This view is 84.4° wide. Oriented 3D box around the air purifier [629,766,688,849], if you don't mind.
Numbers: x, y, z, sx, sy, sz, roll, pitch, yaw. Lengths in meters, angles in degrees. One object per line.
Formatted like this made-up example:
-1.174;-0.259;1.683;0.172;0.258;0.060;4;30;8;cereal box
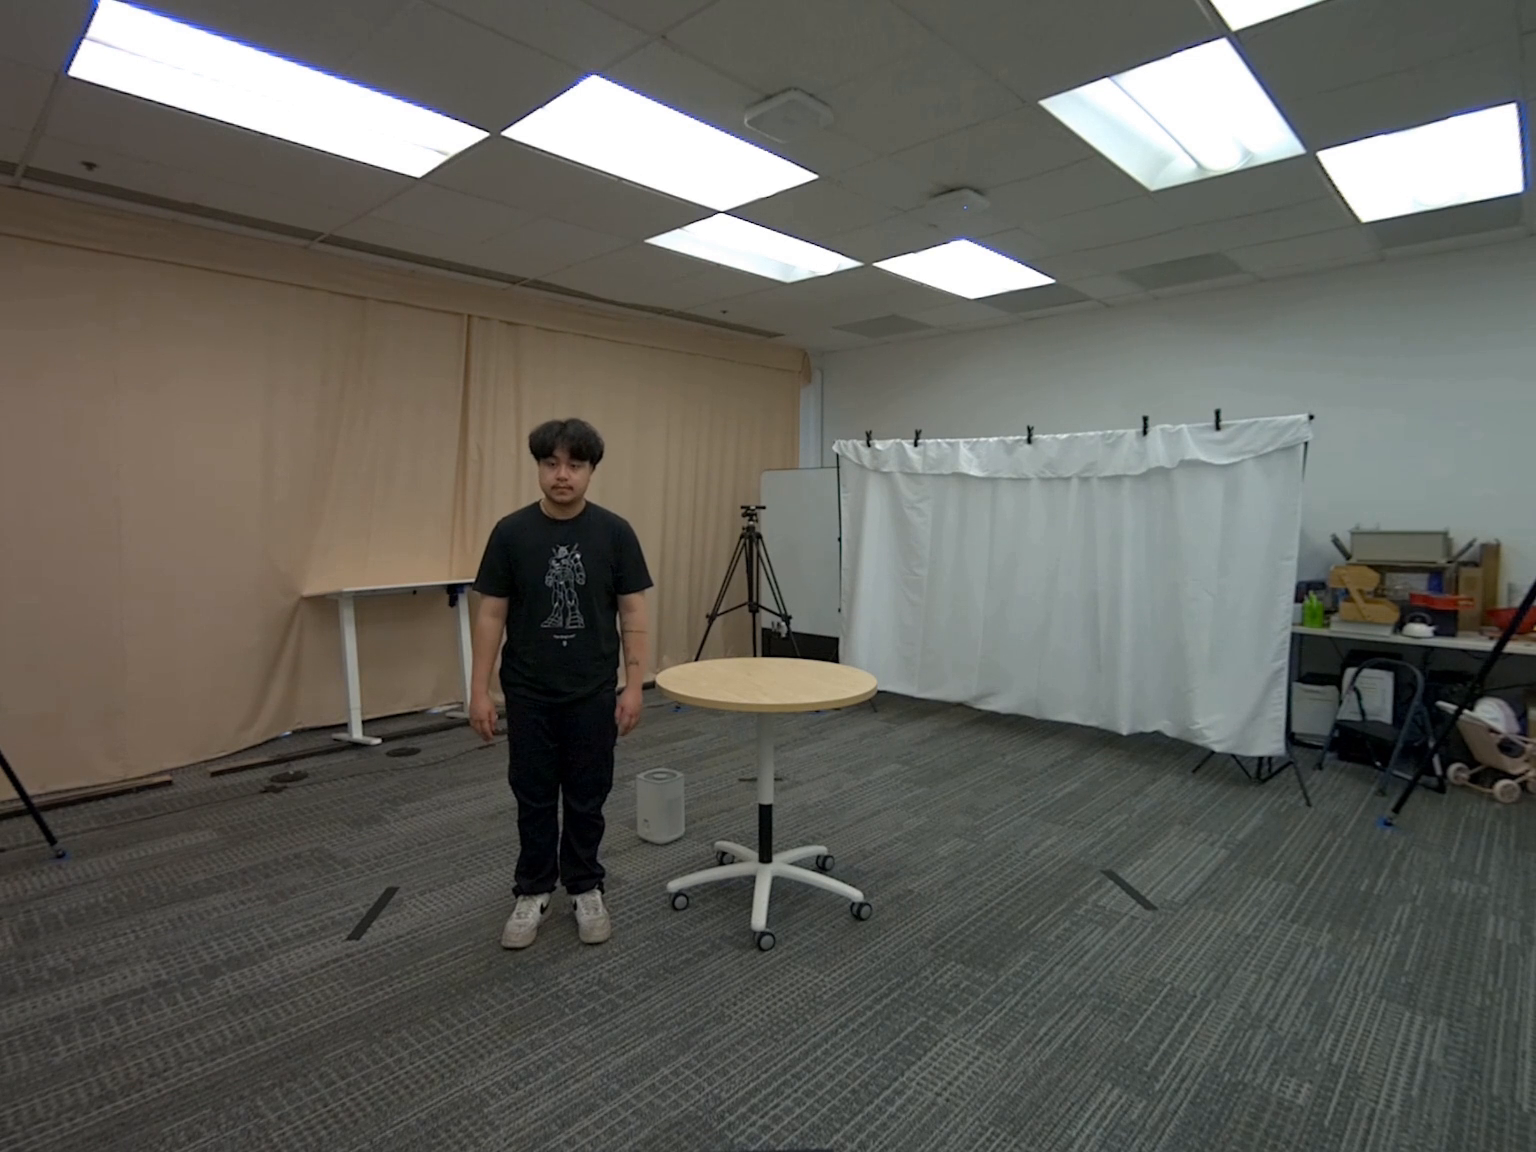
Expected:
-0.459;0.959;3.538;0.176;0.265;0.166;2;4;40;air purifier
